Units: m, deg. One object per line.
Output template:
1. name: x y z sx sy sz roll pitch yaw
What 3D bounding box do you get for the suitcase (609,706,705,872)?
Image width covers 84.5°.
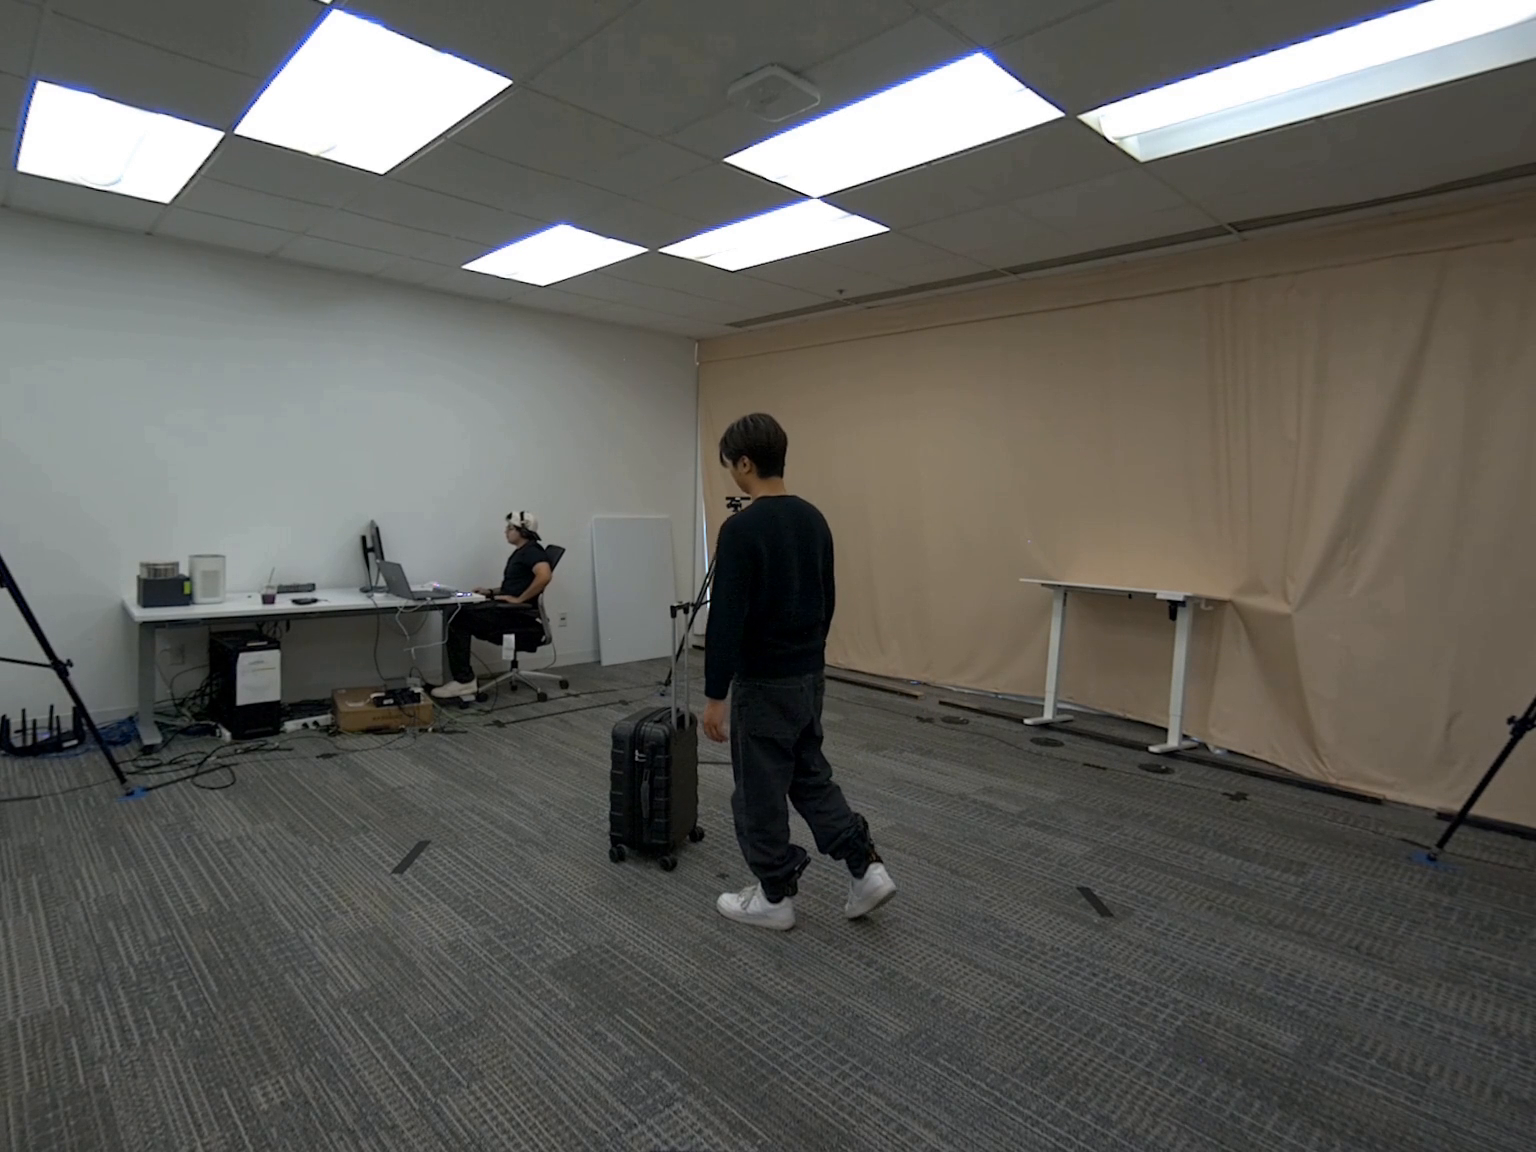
1. suitcase: -0.457 0.605 3.309 0.260 0.978 0.379 -1 1 16
